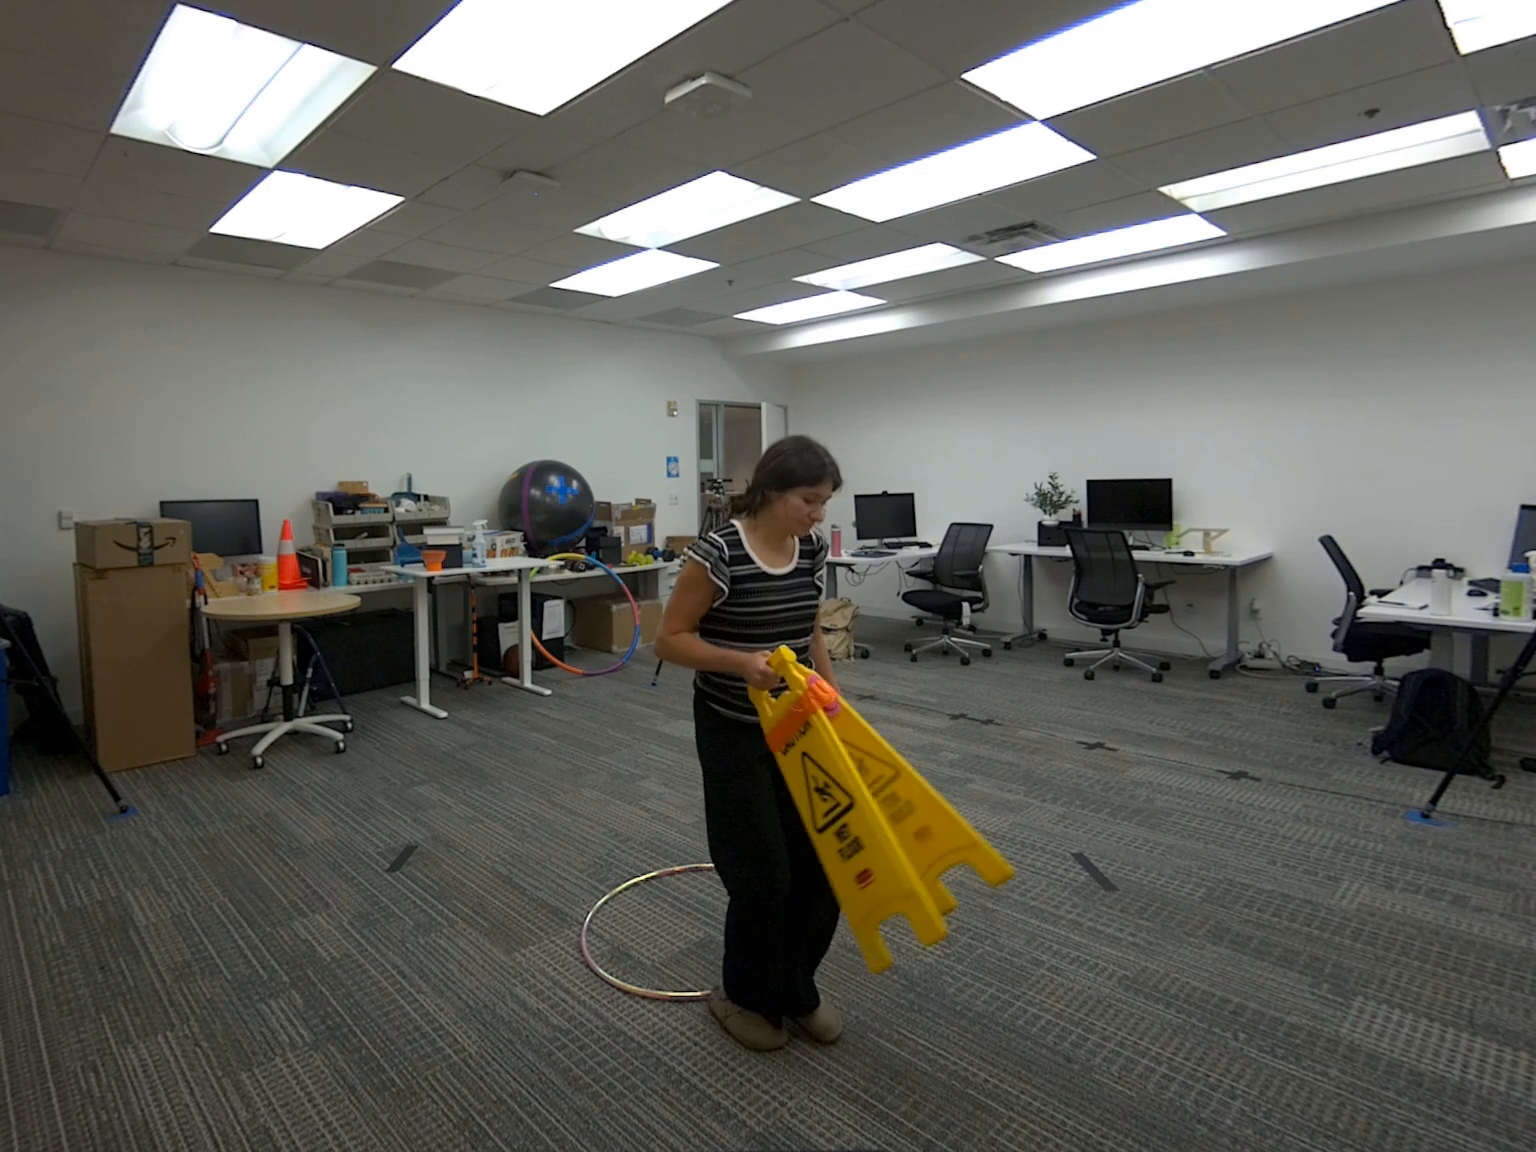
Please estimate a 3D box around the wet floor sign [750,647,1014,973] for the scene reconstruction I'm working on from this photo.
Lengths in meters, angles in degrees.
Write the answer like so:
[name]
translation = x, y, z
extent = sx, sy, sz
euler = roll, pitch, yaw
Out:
[wet floor sign]
translation = 0.171, 0.448, 1.873
extent = 0.284, 0.663, 0.280
euler = -18, -27, -38
